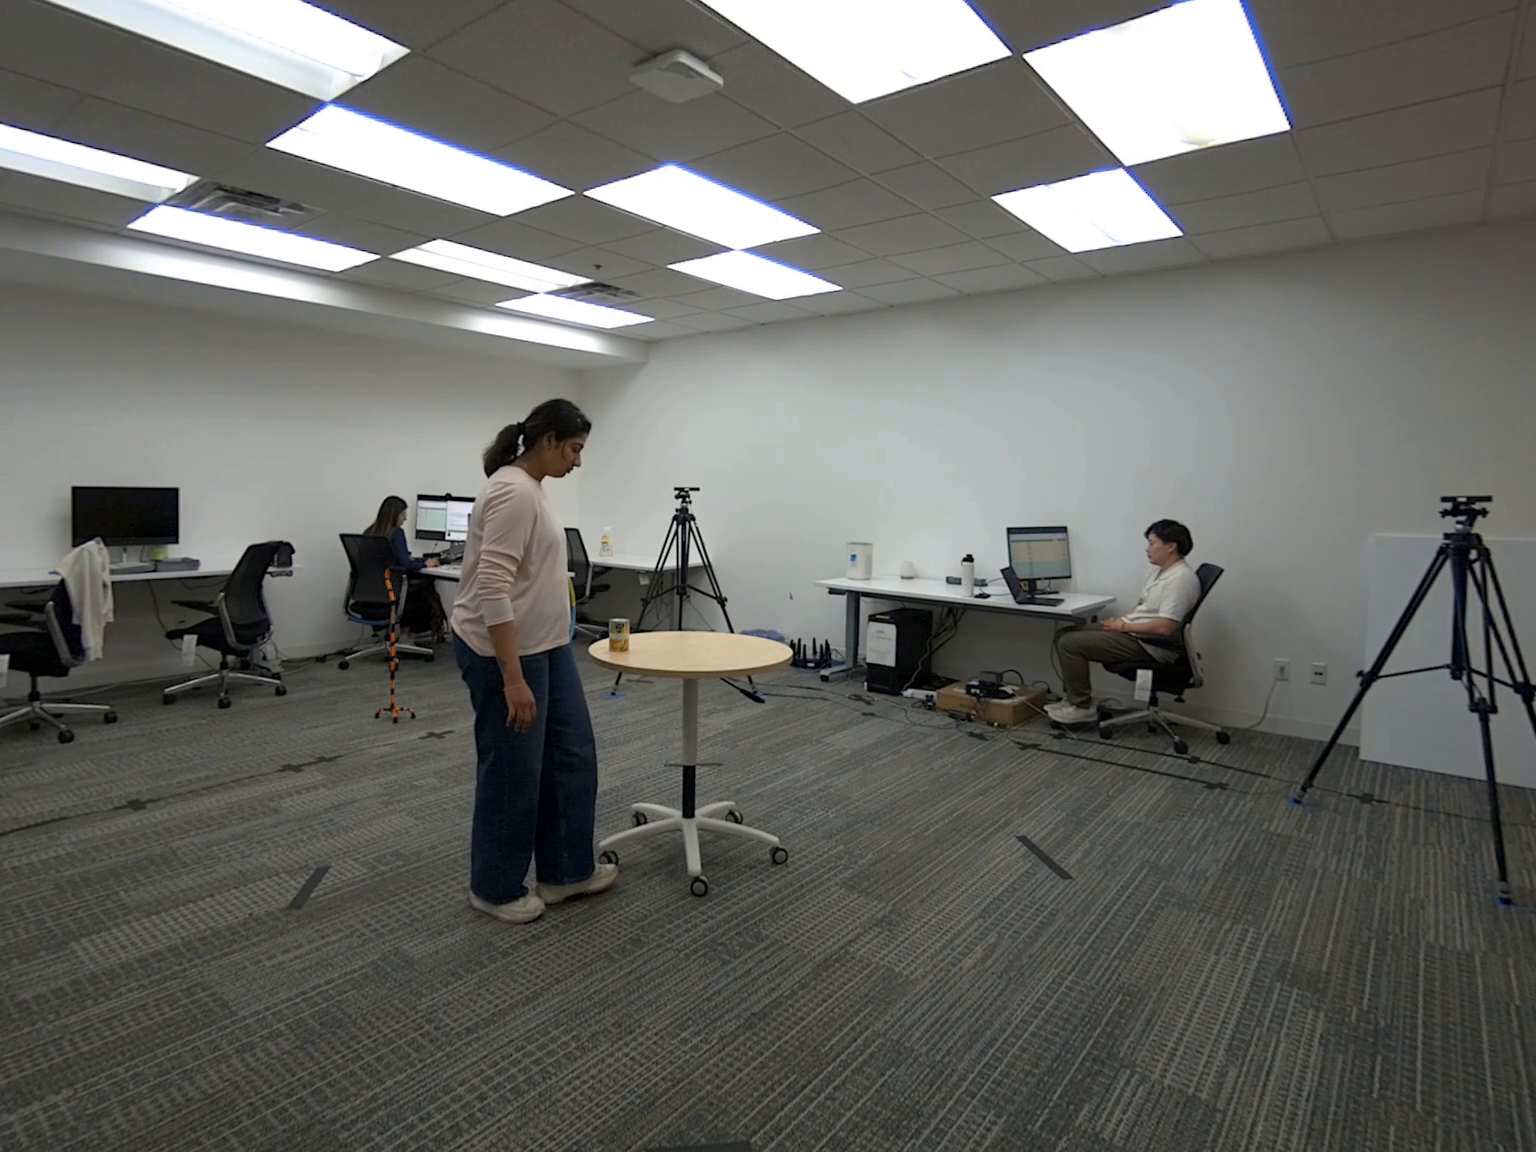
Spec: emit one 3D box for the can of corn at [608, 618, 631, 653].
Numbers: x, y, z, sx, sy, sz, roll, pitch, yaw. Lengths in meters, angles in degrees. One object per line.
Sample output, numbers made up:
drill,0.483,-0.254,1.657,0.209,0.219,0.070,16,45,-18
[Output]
can of corn,-0.561,0.217,3.155,0.074,0.110,0.074,2,4,-2
